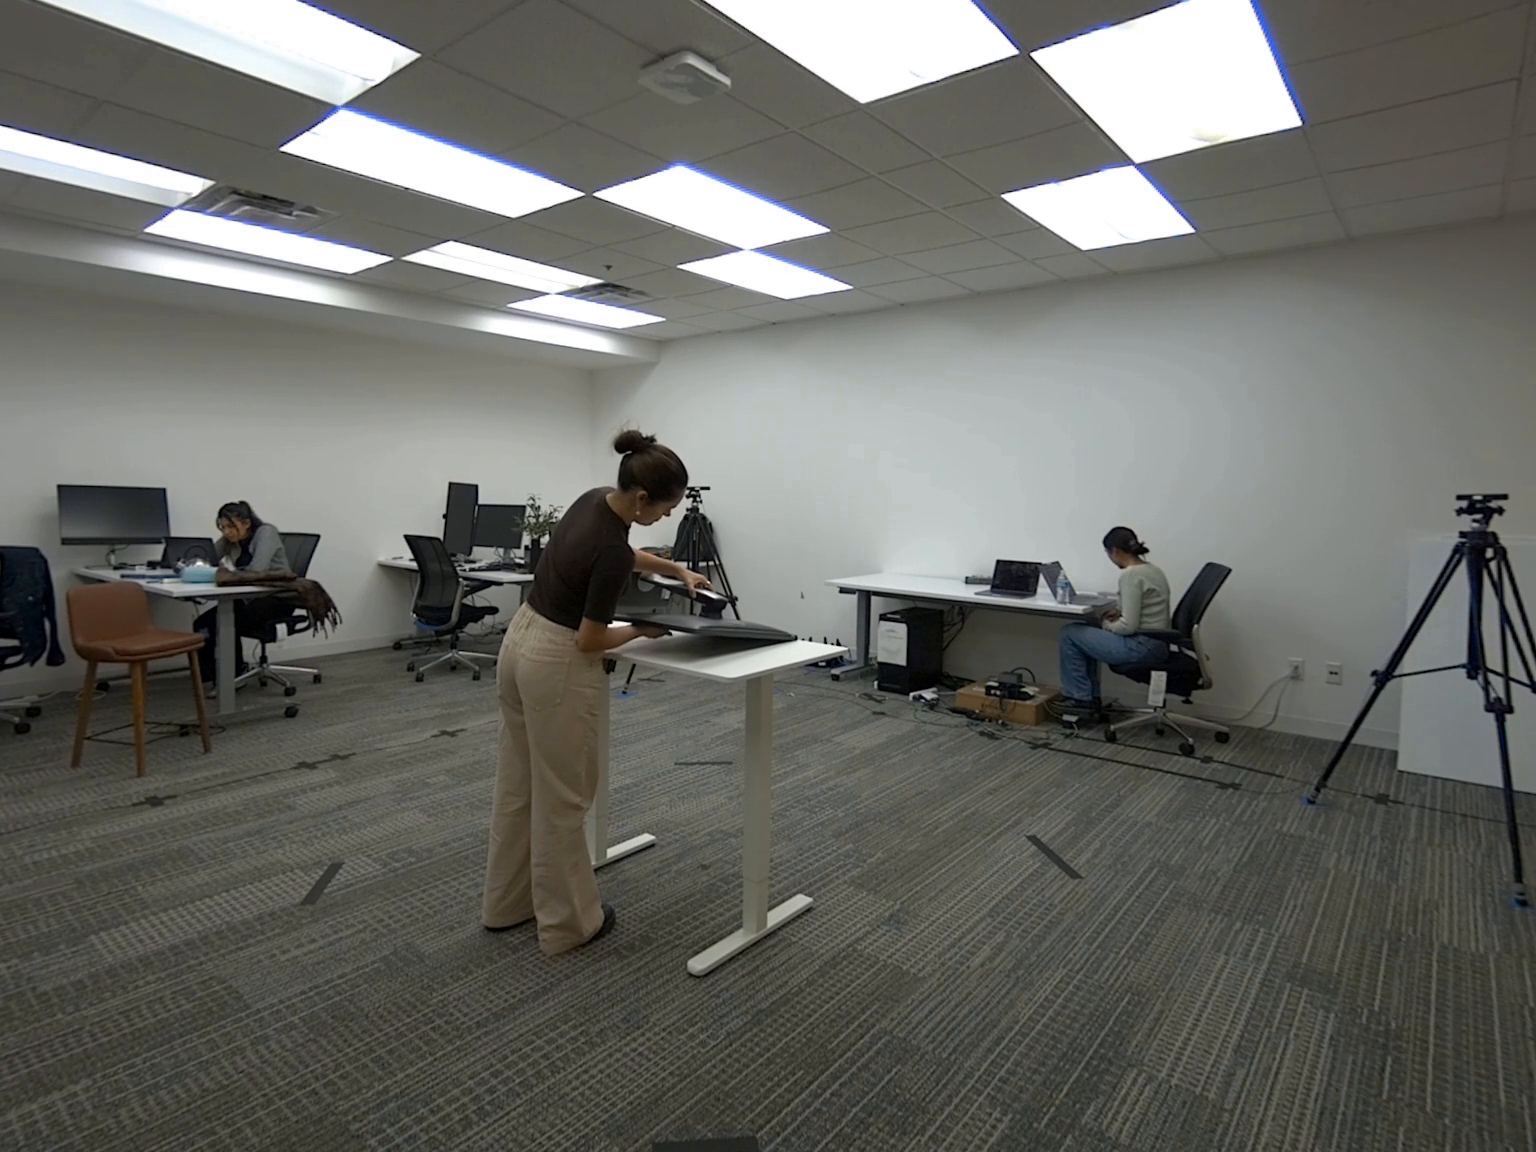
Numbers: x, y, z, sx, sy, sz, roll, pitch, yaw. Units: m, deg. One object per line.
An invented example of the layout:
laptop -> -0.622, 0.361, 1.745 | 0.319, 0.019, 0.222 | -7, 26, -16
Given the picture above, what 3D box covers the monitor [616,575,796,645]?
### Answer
monitor -> -0.264, 0.113, 2.821 | 0.544, 0.186, 0.521 | 26, 14, 38
